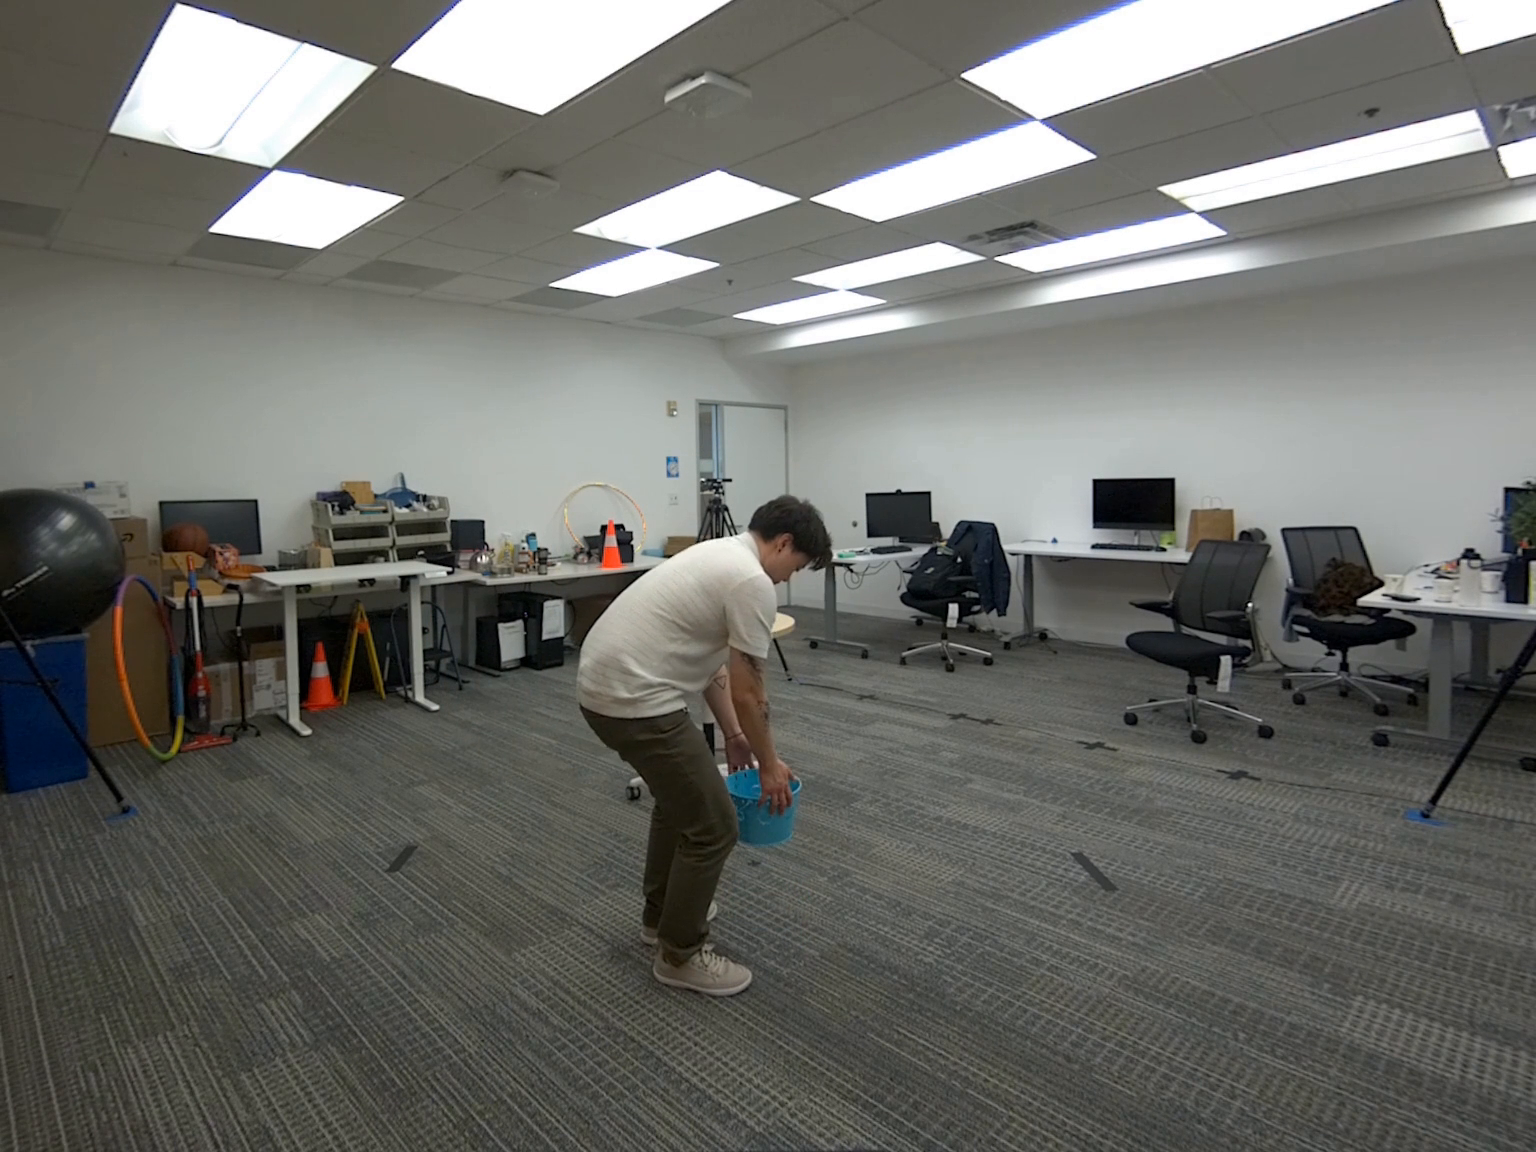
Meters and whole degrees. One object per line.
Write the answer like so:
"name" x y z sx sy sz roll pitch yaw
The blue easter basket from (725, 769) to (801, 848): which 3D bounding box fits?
"blue easter basket" -0.035 0.693 2.551 0.243 0.155 0.246 -2 9 -1
